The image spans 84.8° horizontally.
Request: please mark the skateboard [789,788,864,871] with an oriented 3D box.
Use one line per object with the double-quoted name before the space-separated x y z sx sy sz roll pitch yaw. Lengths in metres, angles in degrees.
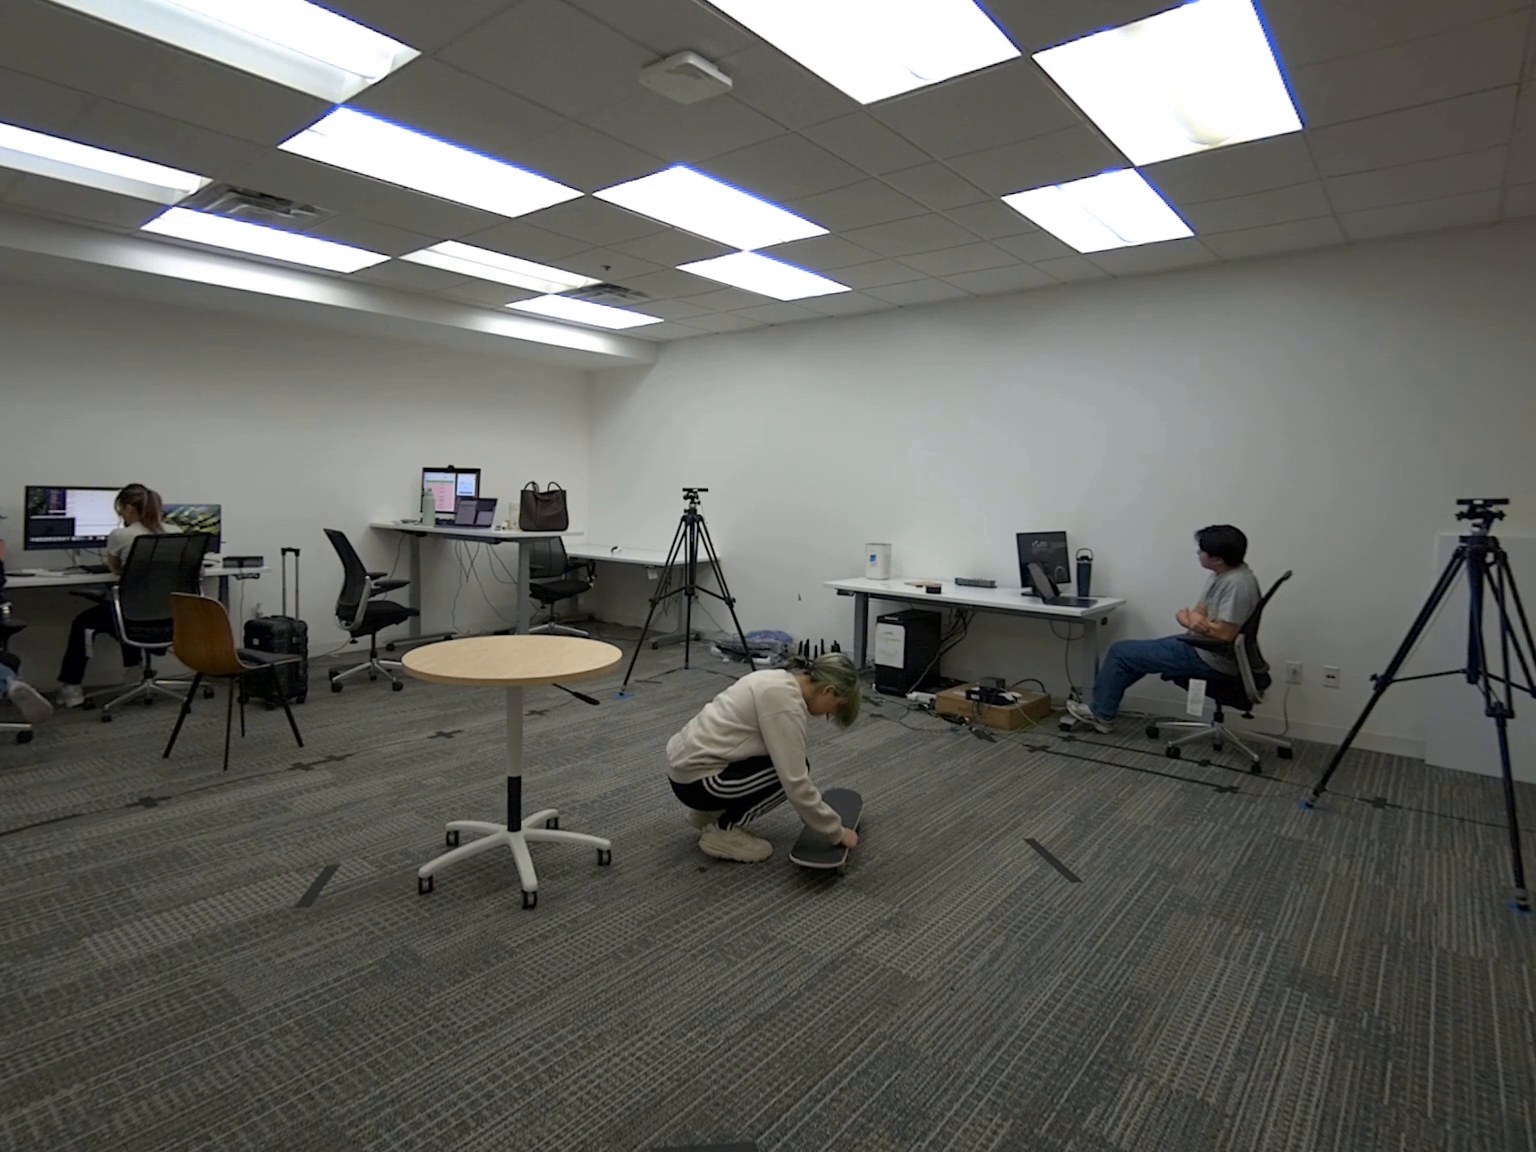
"skateboard" 0.235 1.000 3.302 0.196 0.110 0.776 3 6 13
